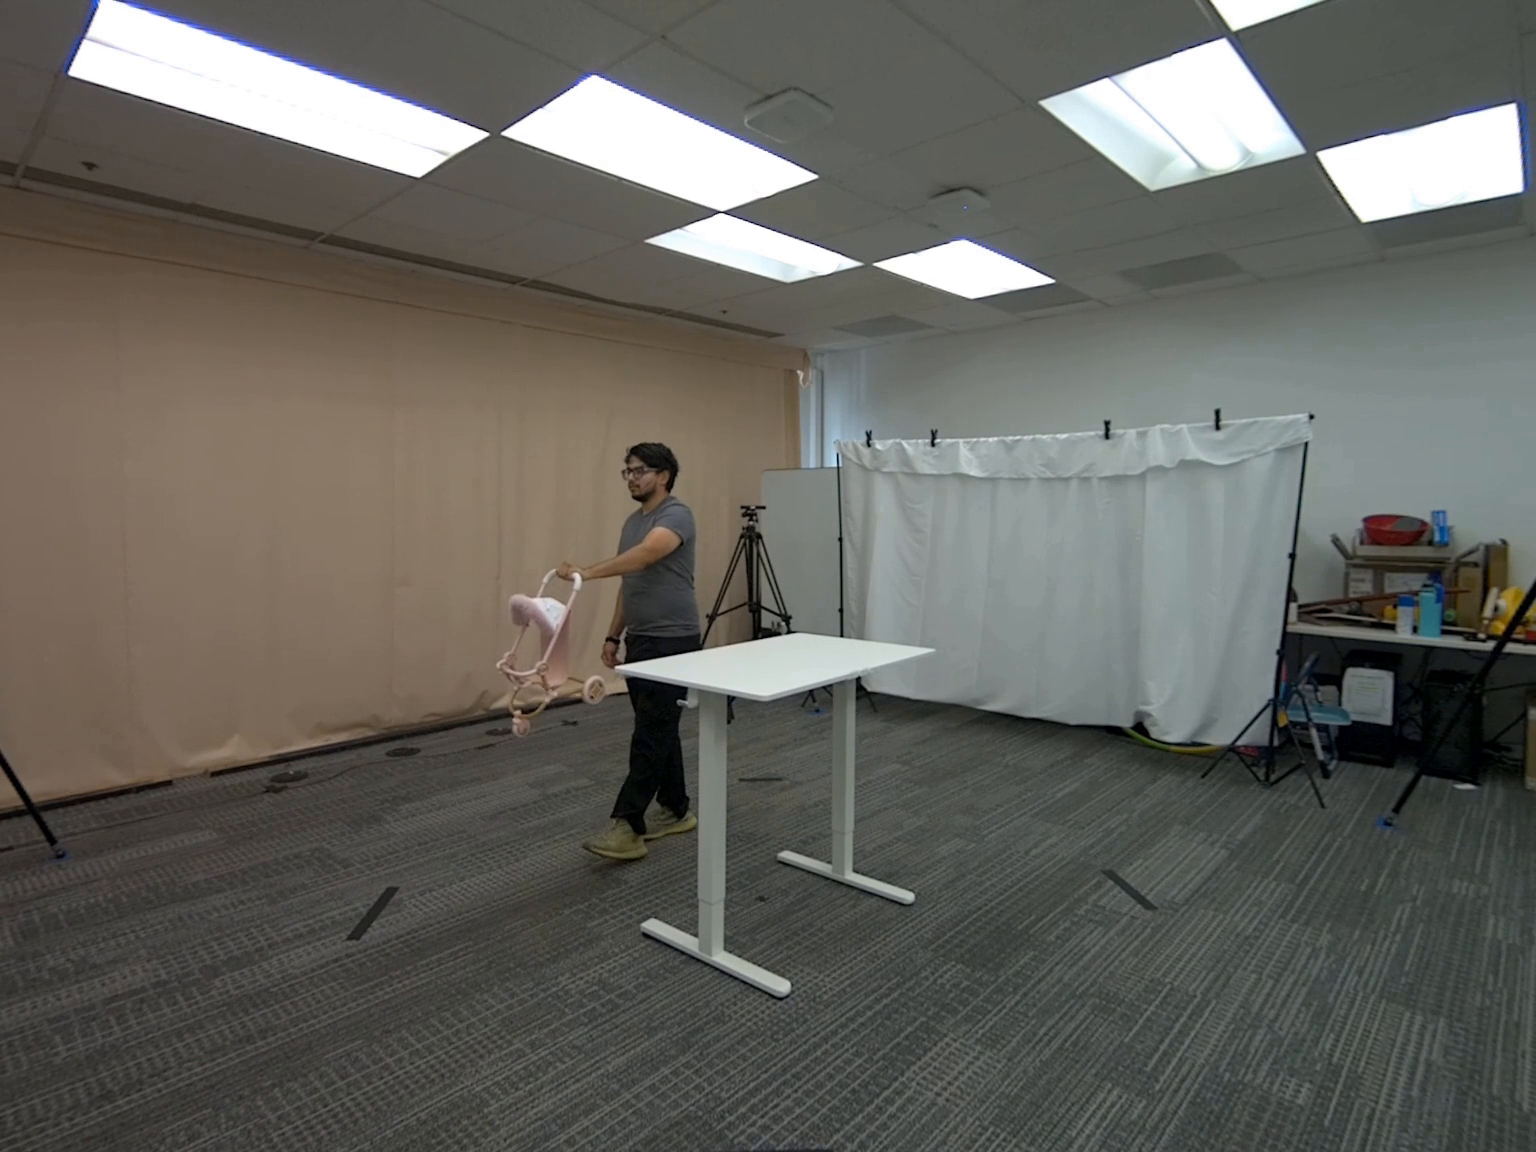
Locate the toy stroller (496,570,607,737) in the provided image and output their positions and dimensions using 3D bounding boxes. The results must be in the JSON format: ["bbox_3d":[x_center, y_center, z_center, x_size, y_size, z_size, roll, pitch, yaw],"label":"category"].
[{"bbox_3d":[-0.806,0.280,3.018,0.333,0.529,0.291,-20,22,-41],"label":"toy stroller"}]
